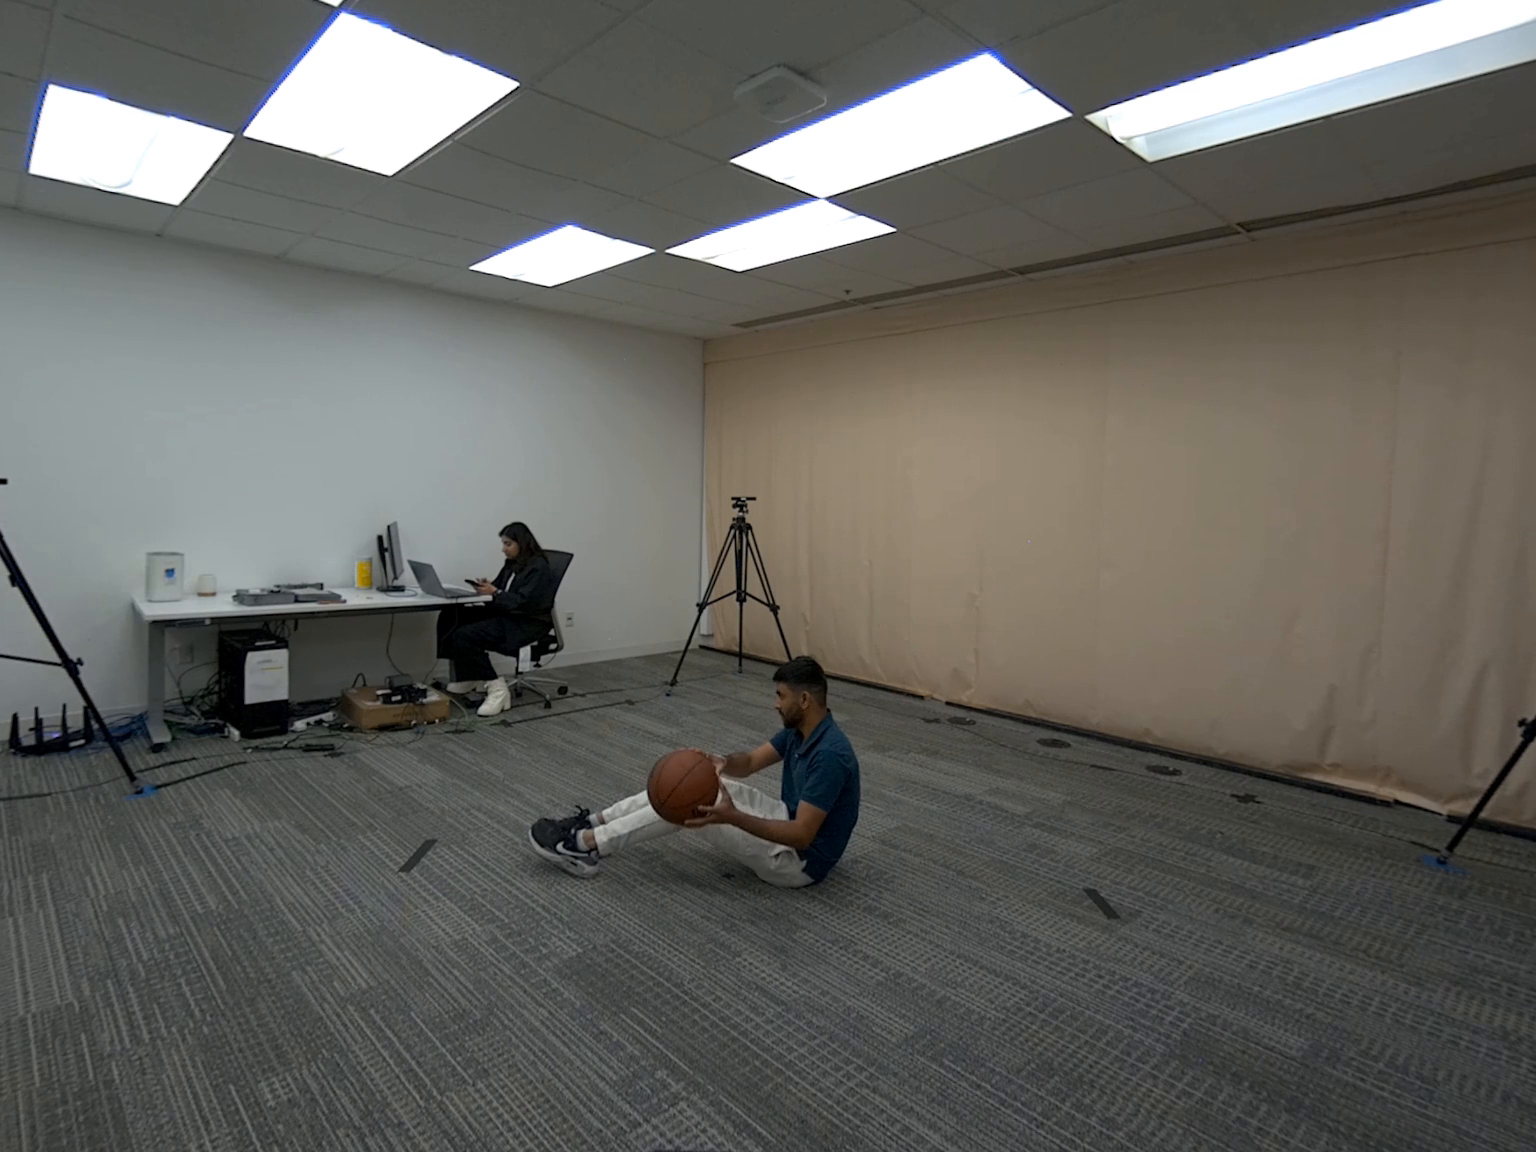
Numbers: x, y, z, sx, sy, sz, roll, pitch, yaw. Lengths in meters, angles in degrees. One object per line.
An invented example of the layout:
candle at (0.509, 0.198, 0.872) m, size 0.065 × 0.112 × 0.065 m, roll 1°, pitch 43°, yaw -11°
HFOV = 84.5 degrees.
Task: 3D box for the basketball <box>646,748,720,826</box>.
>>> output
basketball at (-0.293, 0.707, 2.787) m, size 0.236 × 0.235 × 0.237 m, roll 1°, pitch 4°, yaw -1°
